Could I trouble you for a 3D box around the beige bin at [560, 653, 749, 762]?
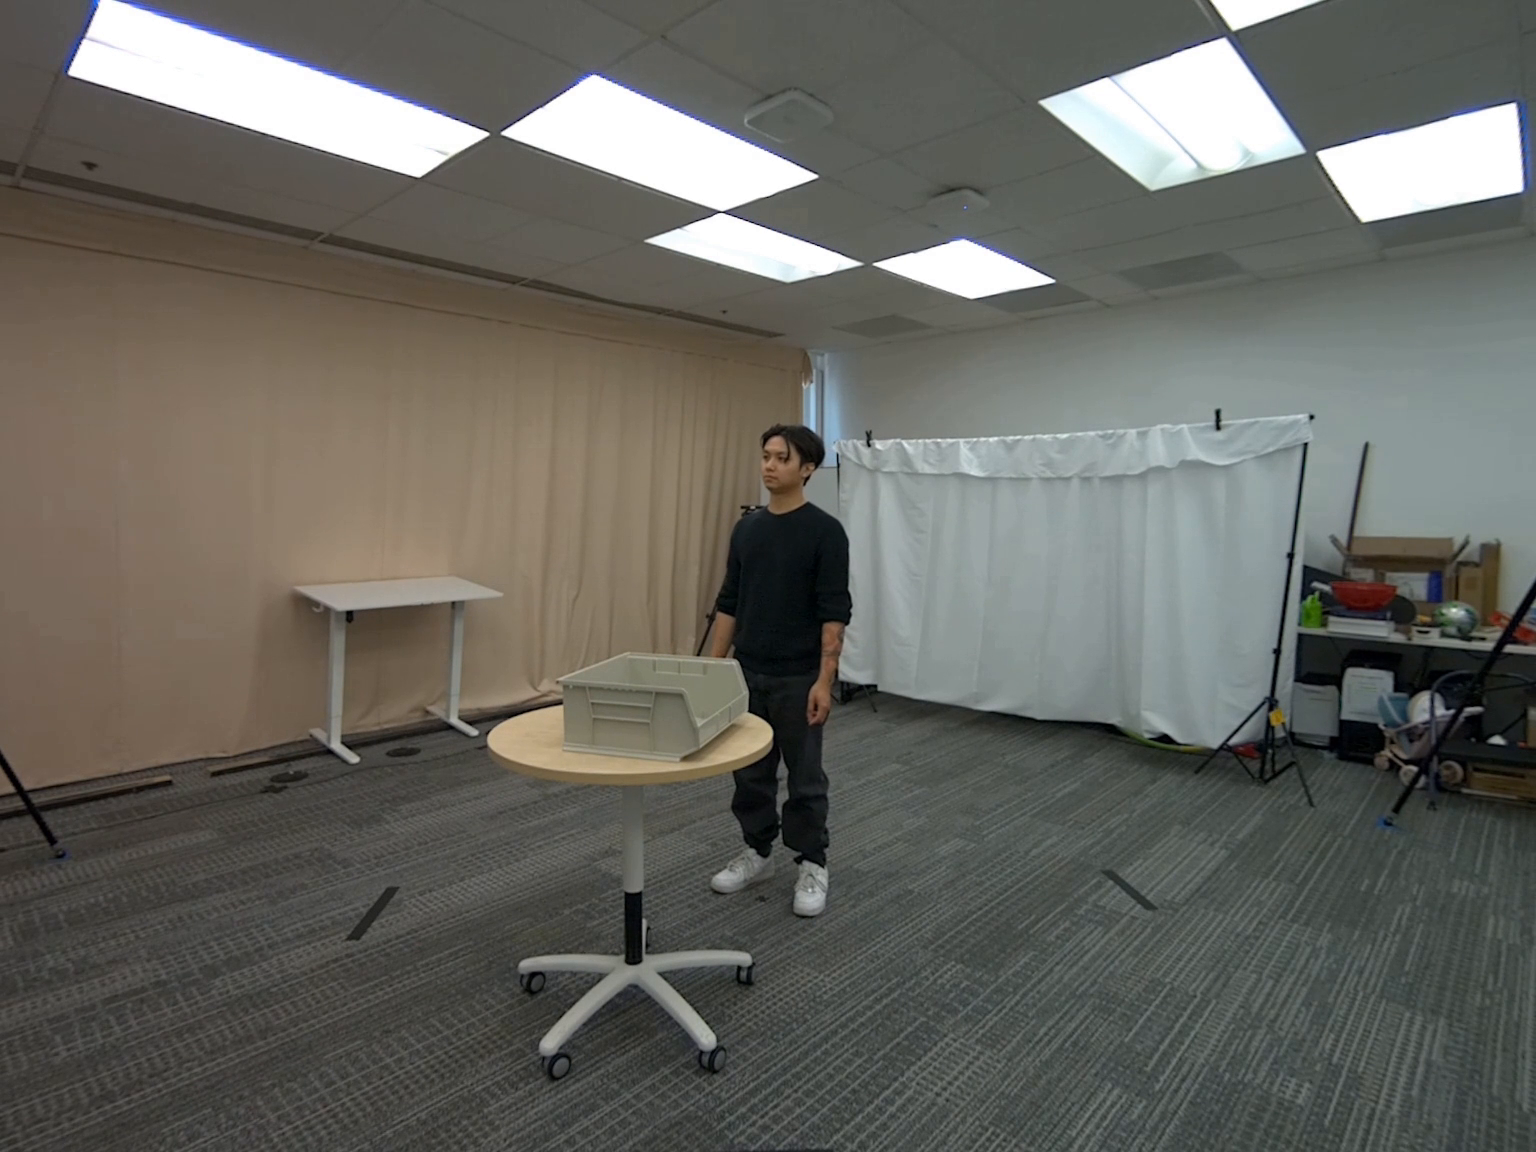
[{"bbox_3d":[-0.290,0.338,2.223,0.384,0.188,0.415,0,4,17],"label":"beige bin"}]
